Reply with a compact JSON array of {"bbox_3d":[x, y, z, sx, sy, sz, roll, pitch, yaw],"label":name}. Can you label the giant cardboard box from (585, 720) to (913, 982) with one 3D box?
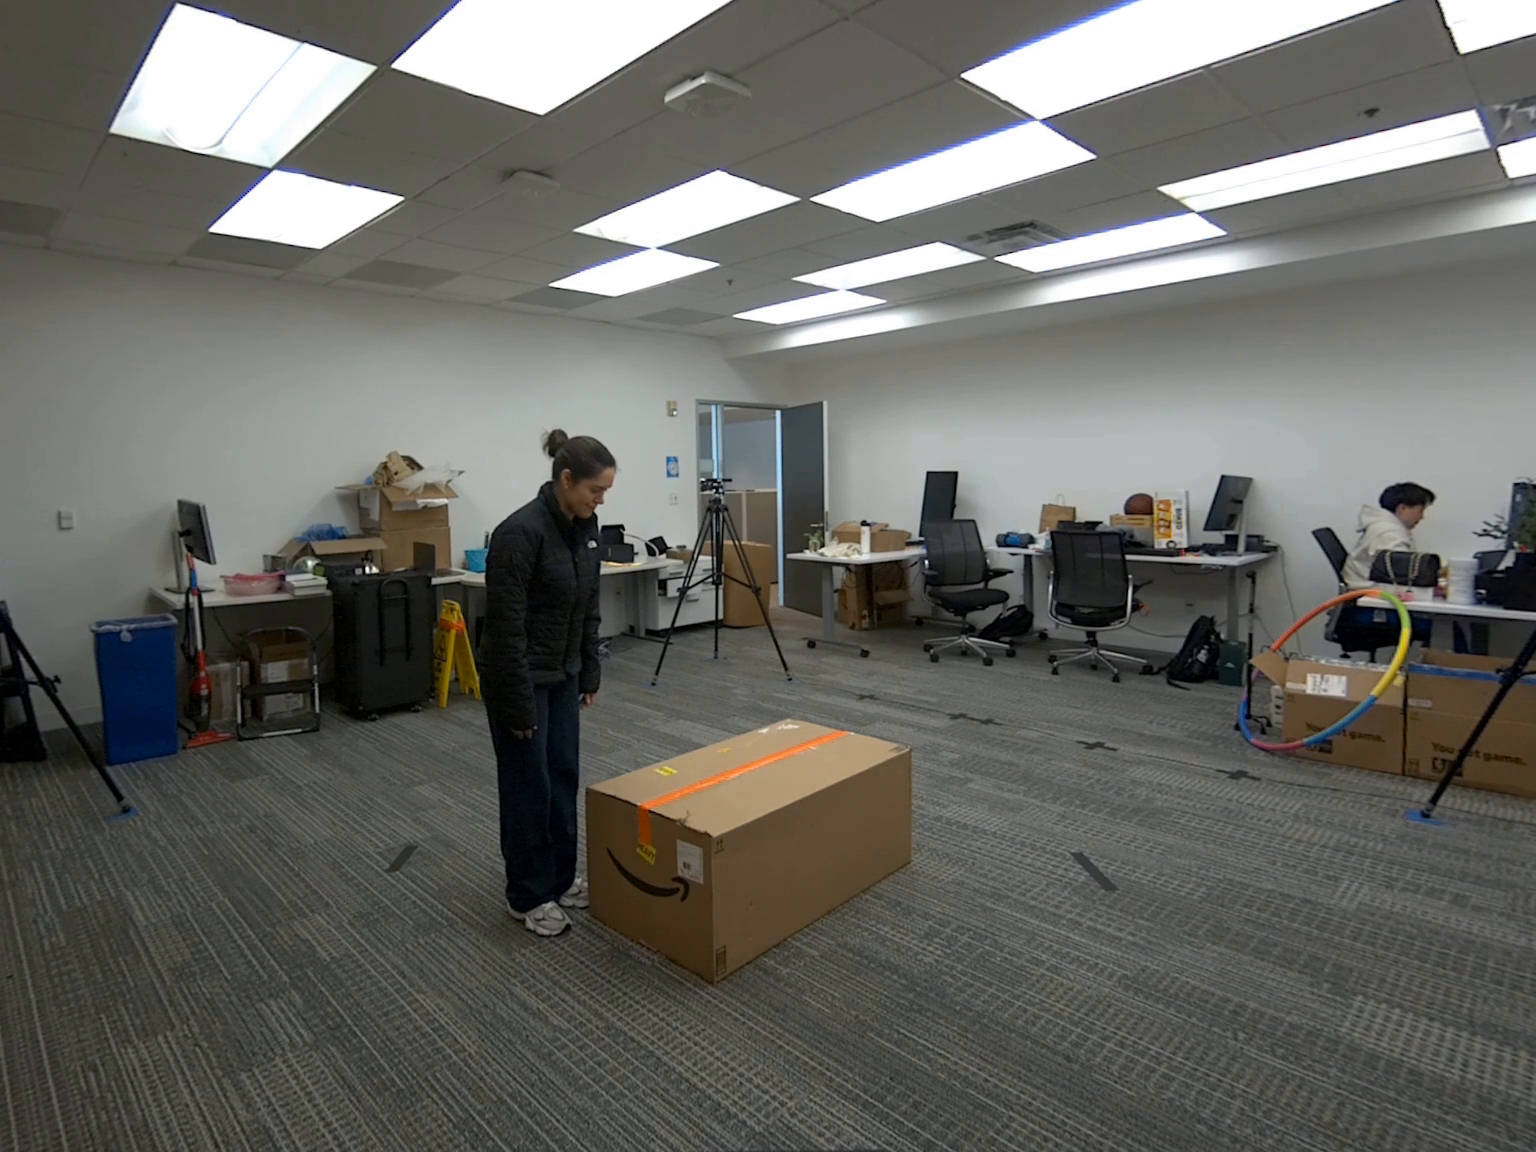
[{"bbox_3d":[-0.029,0.853,2.921,0.595,0.424,0.999,3,7,42],"label":"giant cardboard box"}]
